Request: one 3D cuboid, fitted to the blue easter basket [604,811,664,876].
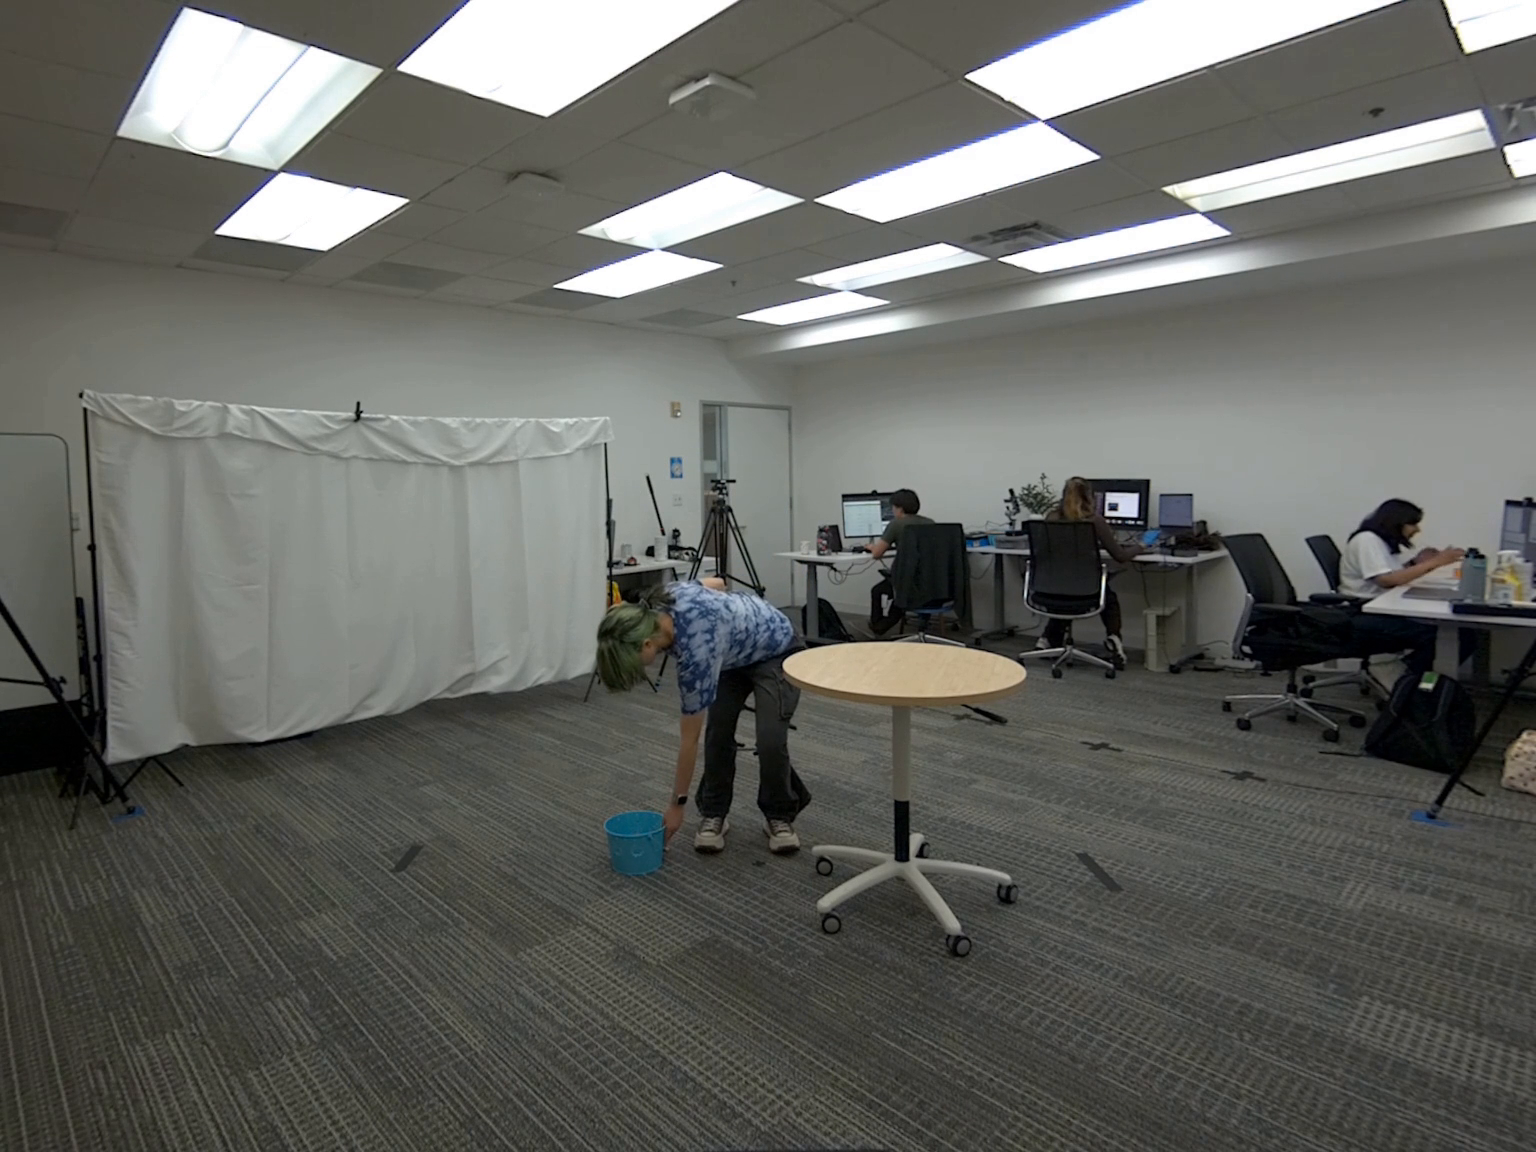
[{"bbox_3d":[-0.475,0.976,3.115,0.243,0.155,0.245,-1,6,-2],"label":"blue easter basket"}]
